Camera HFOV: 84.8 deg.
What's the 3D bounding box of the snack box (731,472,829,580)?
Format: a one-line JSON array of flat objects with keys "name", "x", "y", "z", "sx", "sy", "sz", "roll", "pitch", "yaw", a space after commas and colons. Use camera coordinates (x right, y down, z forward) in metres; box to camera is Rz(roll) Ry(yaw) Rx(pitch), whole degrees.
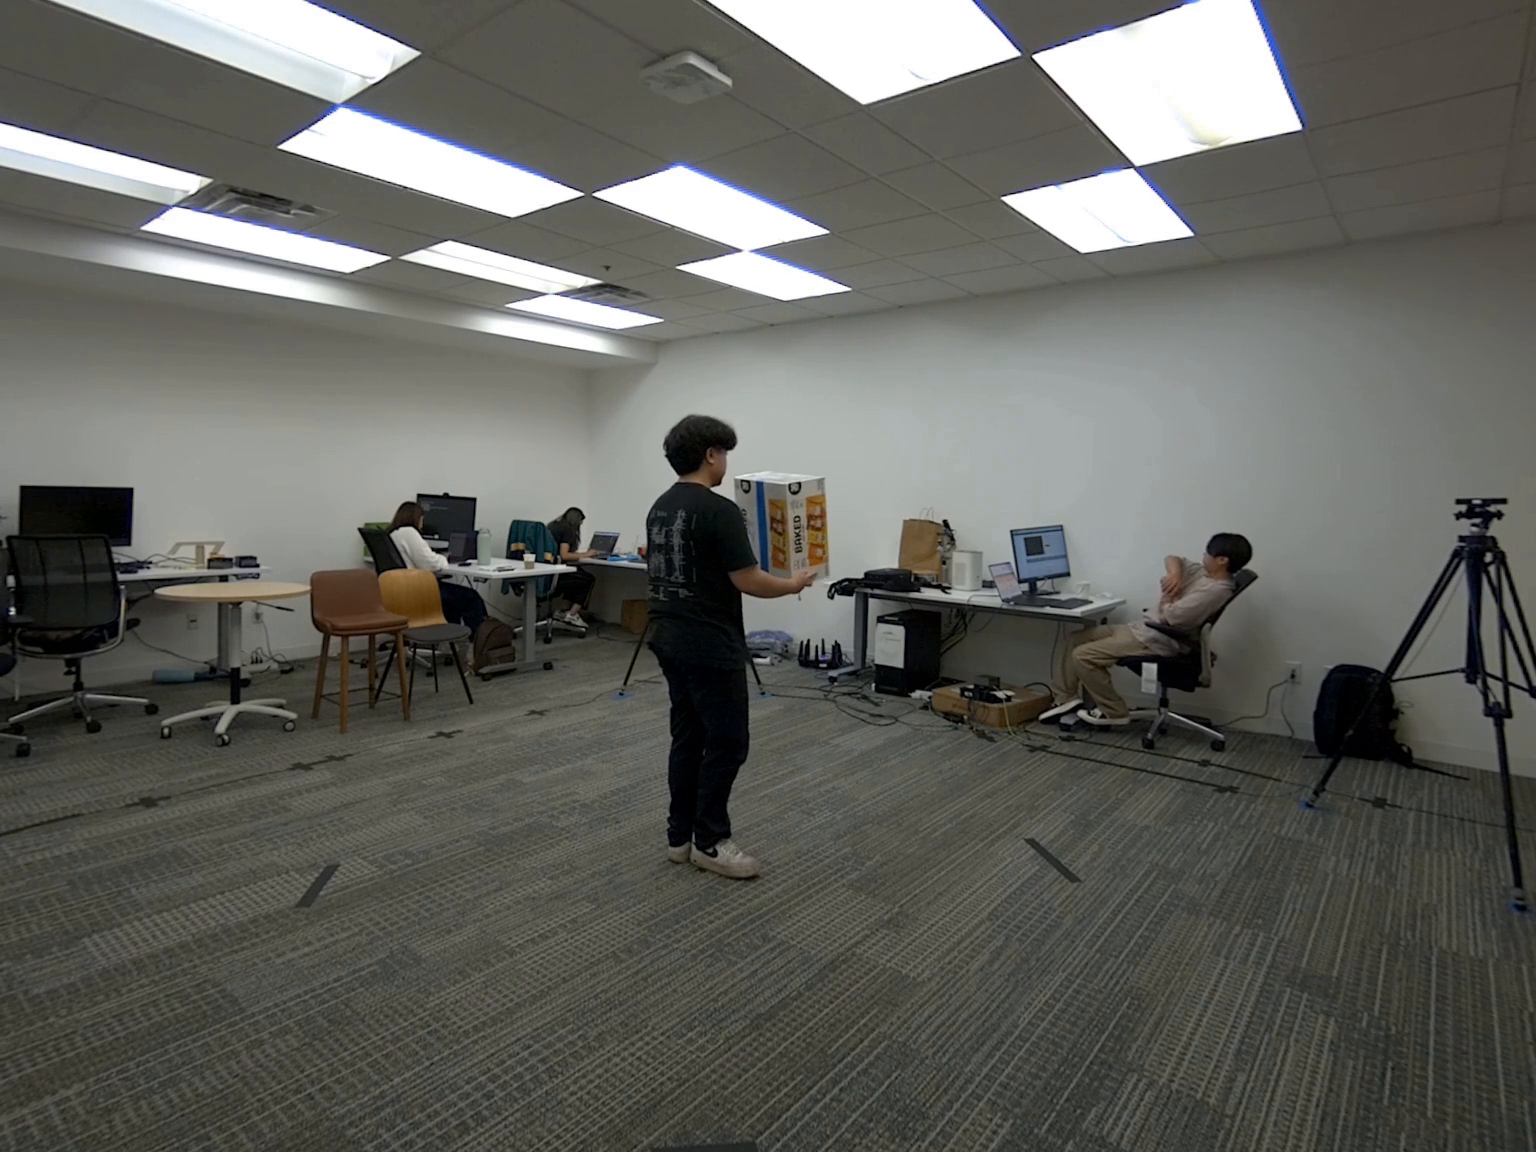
[{"name": "snack box", "x": 0.044, "y": -0.203, "z": 3.433, "sx": 0.201, "sy": 0.400, "sz": 0.352, "roll": -12, "pitch": 14, "yaw": -35}]
